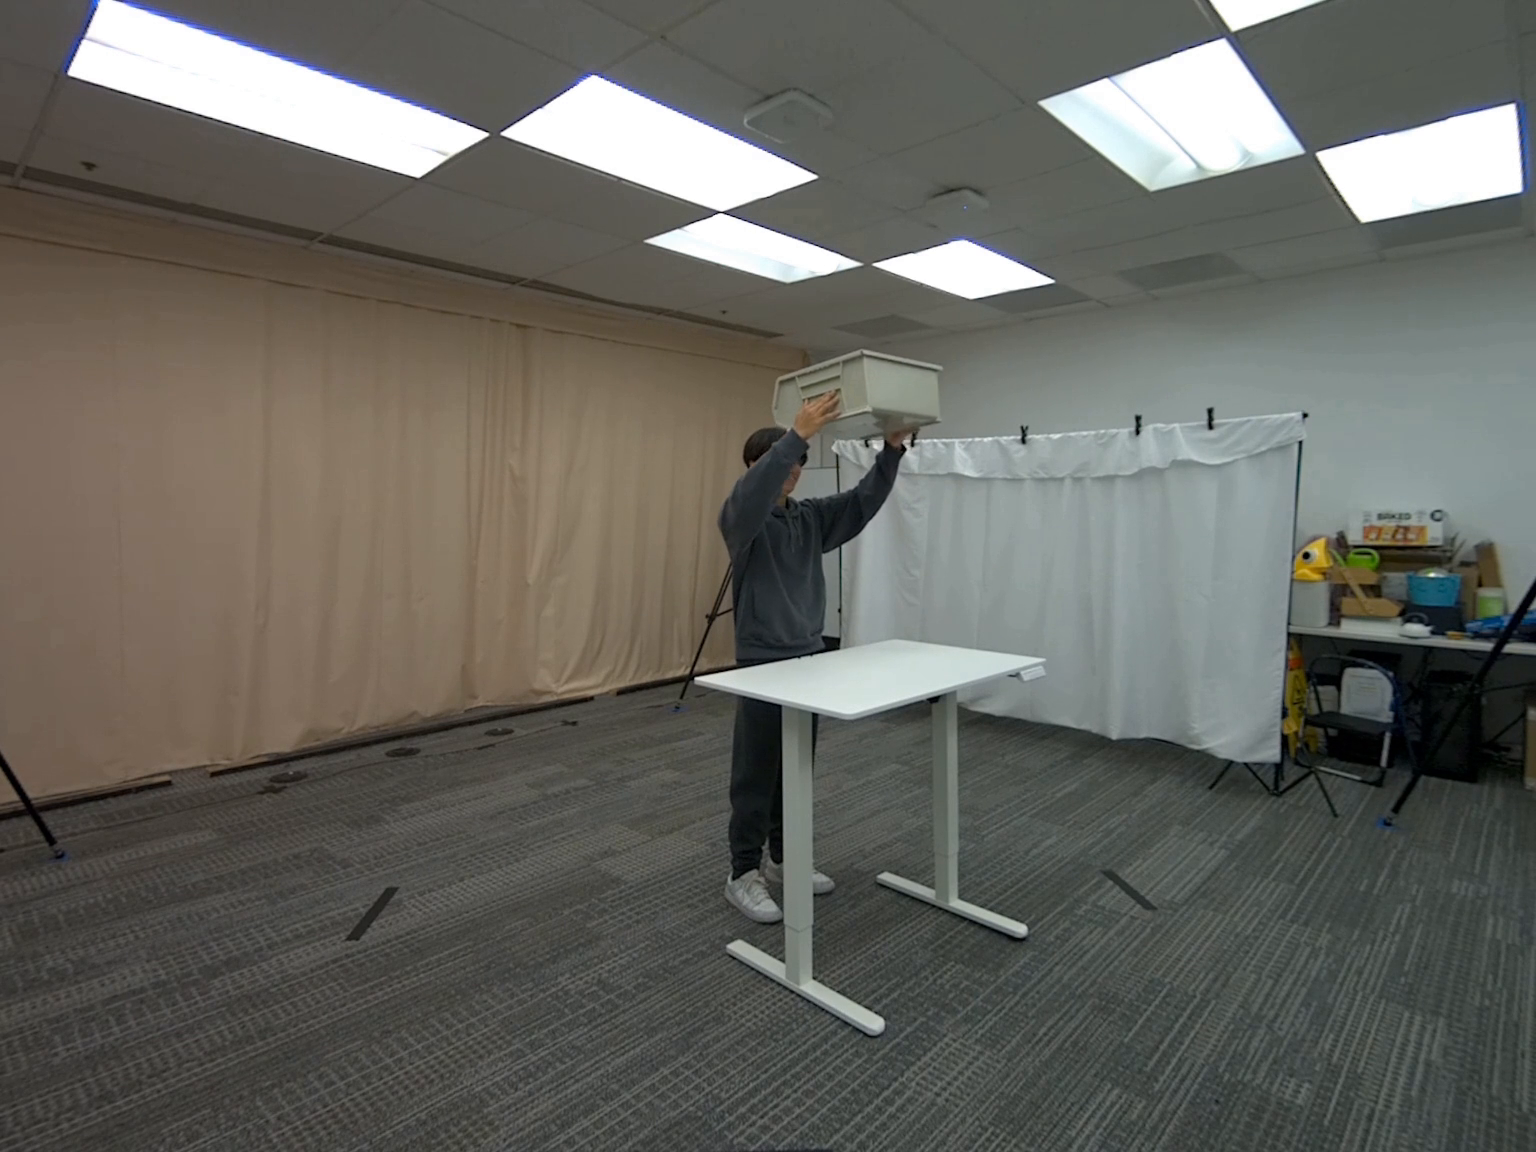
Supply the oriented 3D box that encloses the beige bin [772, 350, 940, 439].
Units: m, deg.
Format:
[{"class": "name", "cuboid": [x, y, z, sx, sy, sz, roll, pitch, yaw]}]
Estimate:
[{"class": "beige bin", "cuboid": [0.292, -0.563, 2.719, 0.409, 0.189, 0.389, -3, -1, -45]}]
